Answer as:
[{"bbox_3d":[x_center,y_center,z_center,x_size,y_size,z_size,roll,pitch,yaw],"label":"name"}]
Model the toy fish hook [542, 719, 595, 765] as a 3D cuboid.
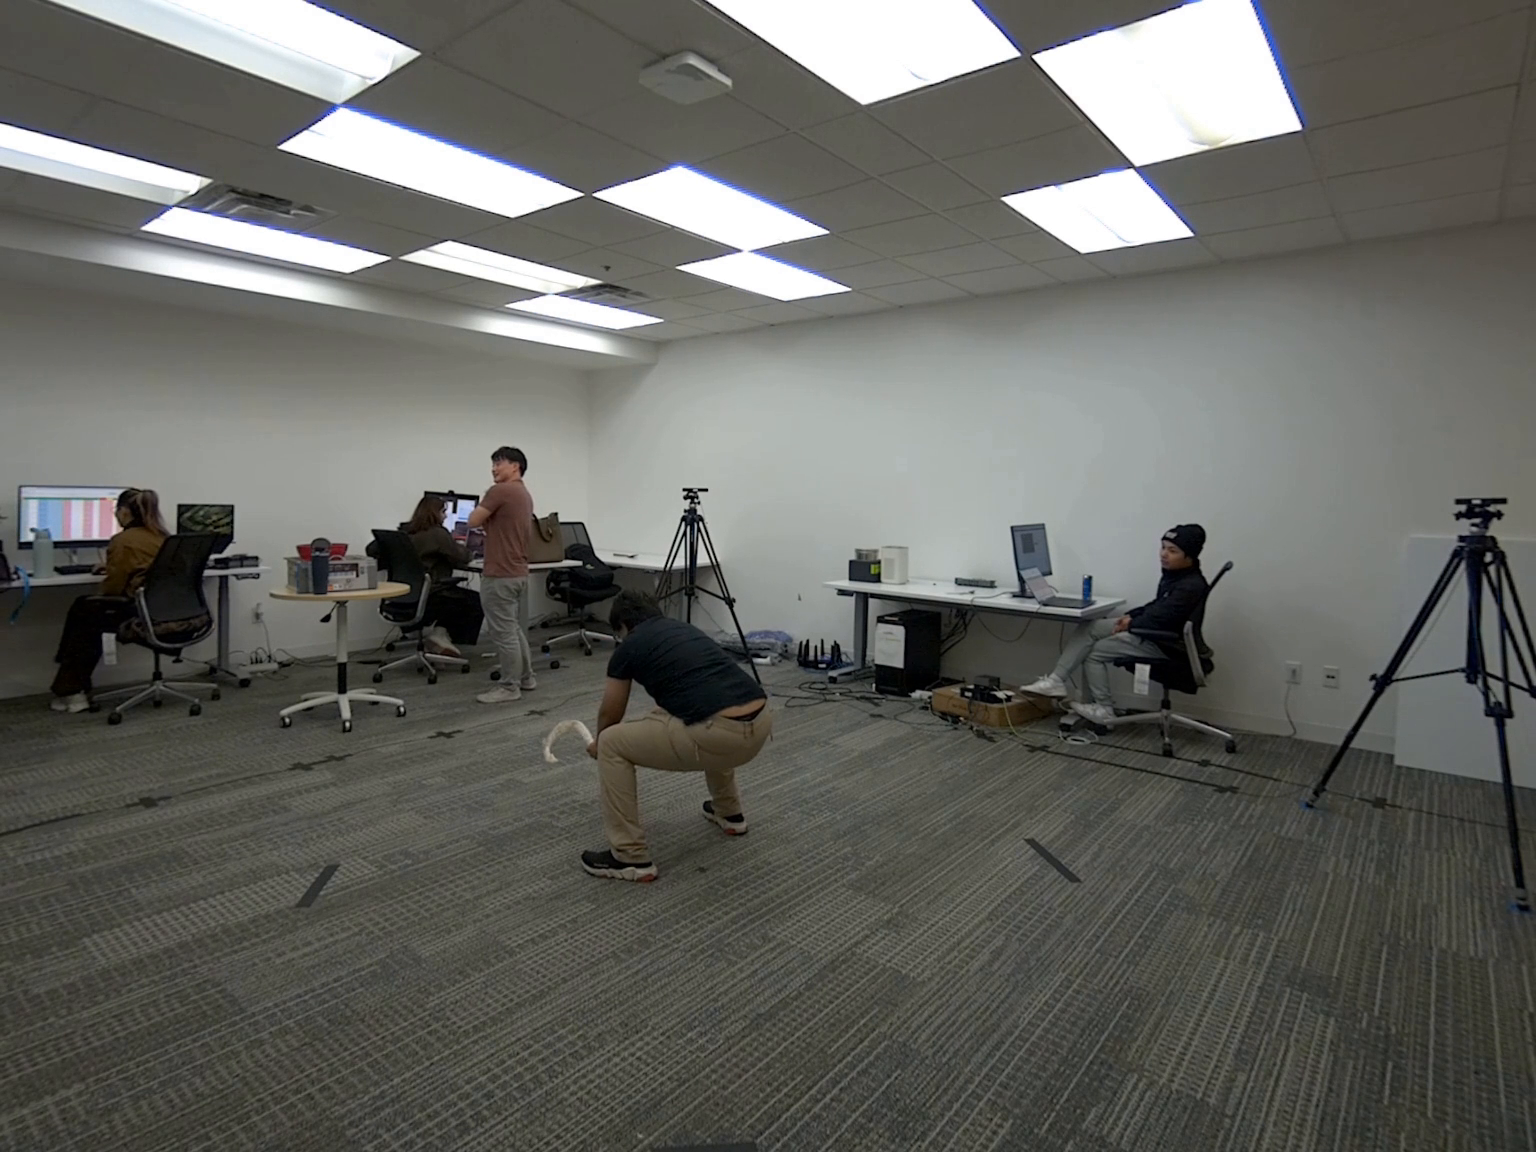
[{"bbox_3d":[-0.844,0.773,3.716,0.526,0.225,0.046,14,-32,48],"label":"toy fish hook"}]
